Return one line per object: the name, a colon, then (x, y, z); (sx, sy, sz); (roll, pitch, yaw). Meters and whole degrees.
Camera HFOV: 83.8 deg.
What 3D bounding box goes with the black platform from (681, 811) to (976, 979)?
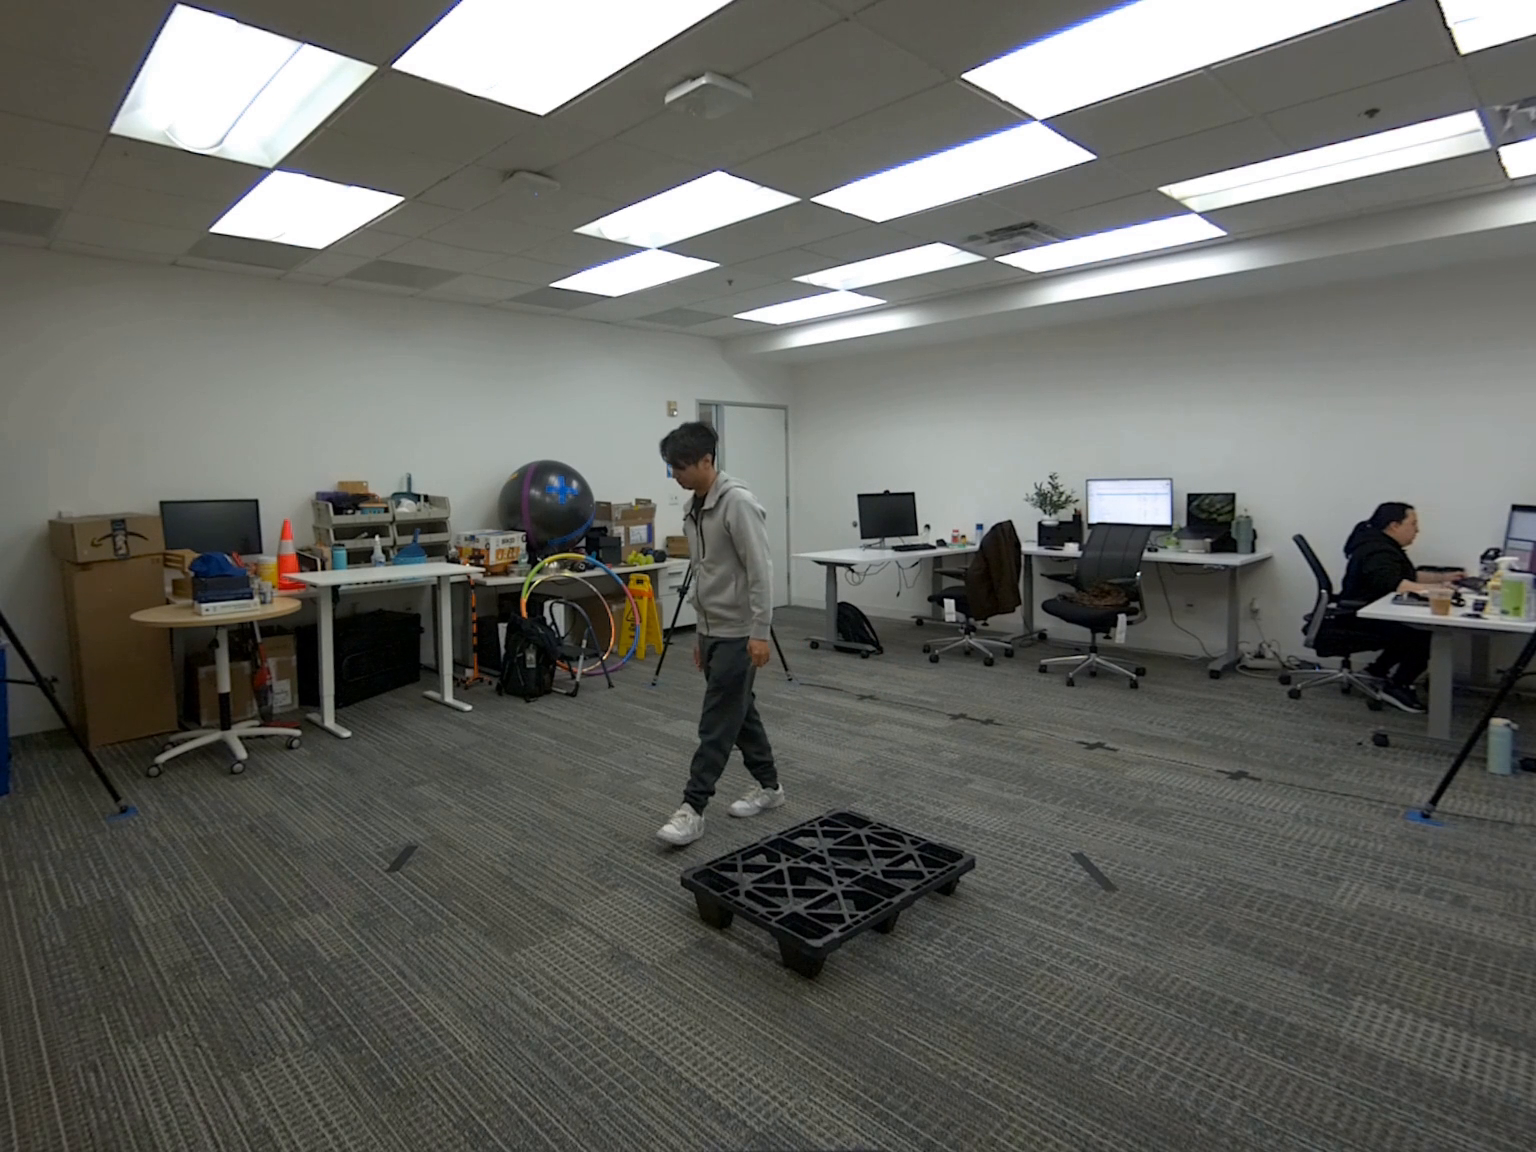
black platform: (0.201, 1.011, 2.794); (0.784, 0.143, 0.624); (-7, 8, -43)
